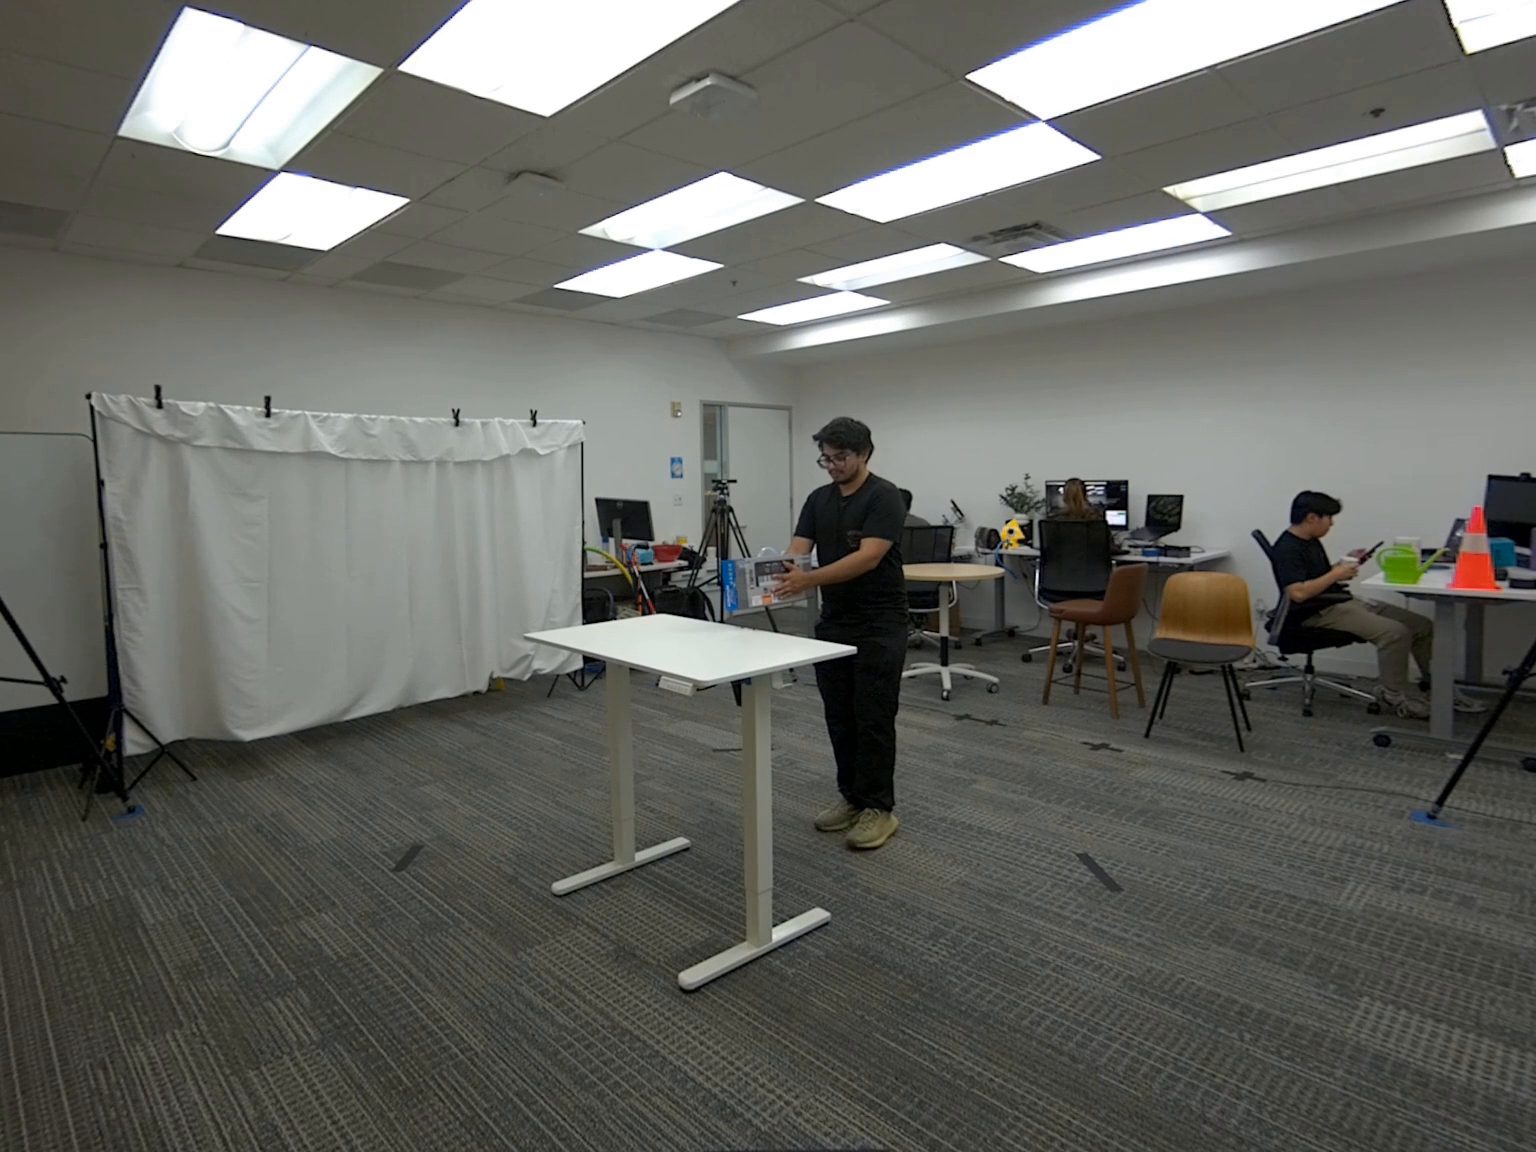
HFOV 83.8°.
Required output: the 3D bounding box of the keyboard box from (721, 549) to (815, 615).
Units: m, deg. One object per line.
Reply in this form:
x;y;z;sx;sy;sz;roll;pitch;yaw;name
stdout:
0.010;0.019;3.064;0.060;0.176;0.425;-6;0;42;keyboard box
